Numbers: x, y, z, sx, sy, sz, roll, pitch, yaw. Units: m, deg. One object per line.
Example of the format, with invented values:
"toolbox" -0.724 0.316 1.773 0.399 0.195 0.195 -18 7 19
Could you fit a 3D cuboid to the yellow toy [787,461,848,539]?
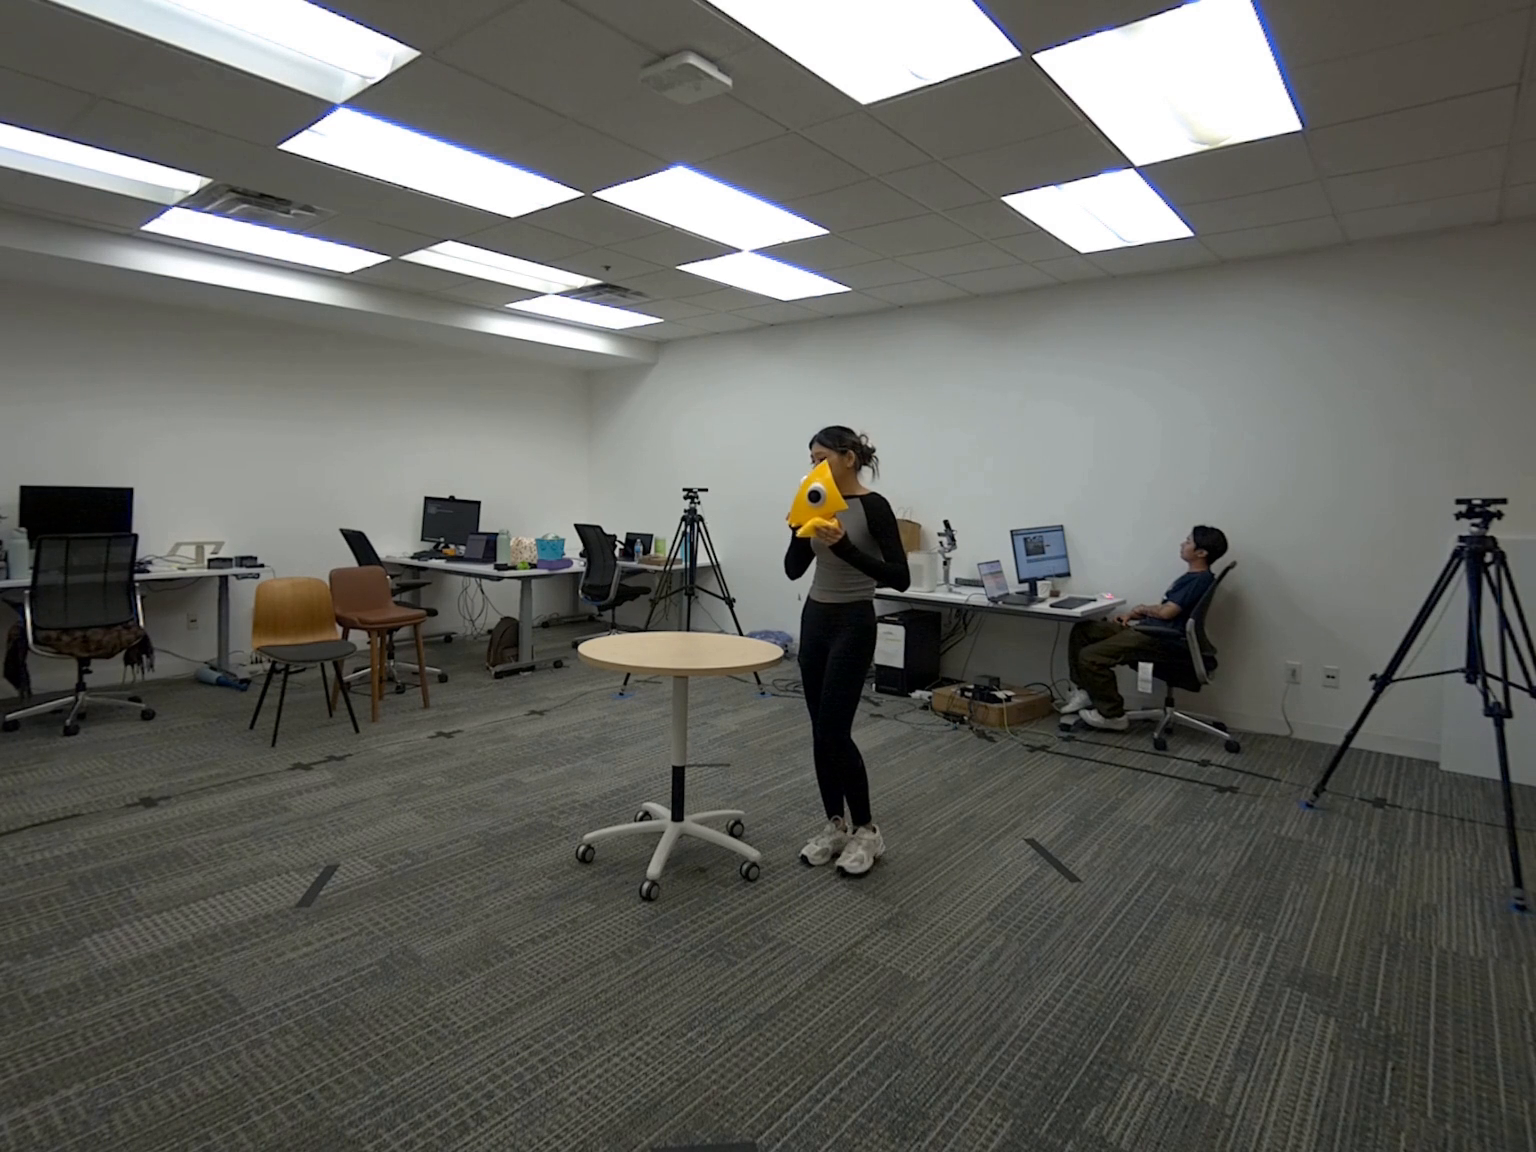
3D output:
"yellow toy" 0.150 -0.284 2.948 0.191 0.225 0.211 -12 23 -10
